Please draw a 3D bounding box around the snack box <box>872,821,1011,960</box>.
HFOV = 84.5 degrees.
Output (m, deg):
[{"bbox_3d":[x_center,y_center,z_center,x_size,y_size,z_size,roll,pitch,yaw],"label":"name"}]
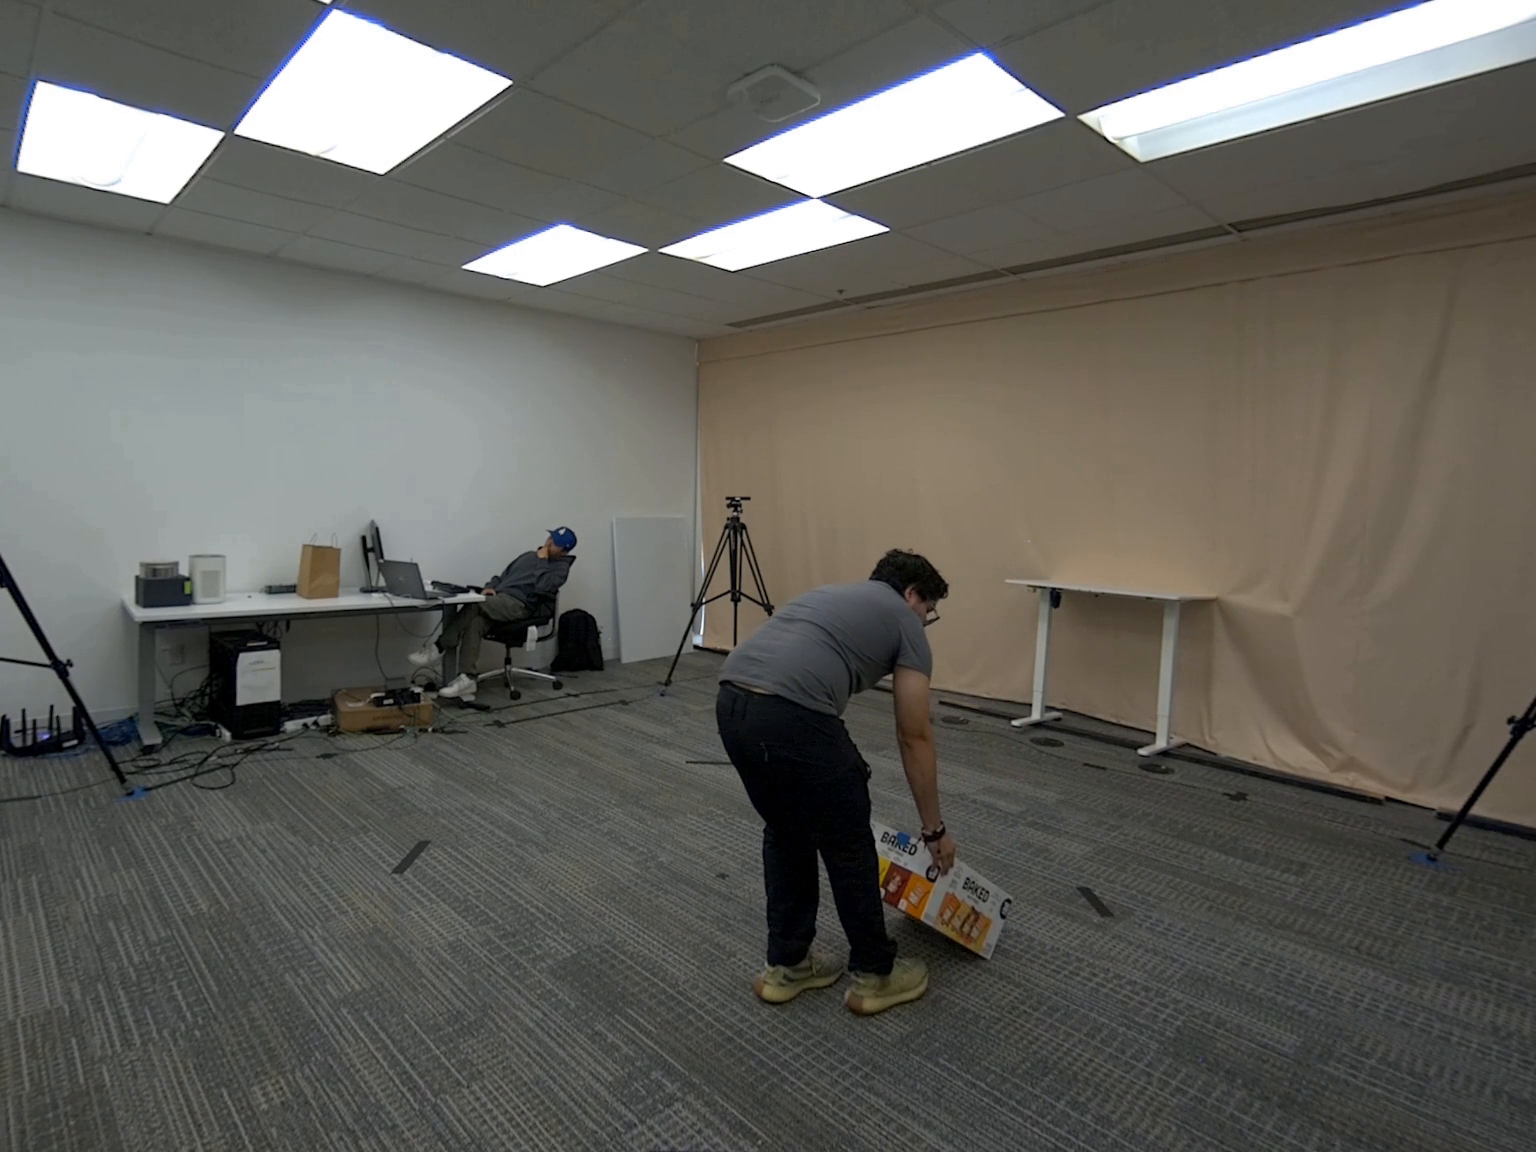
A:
[{"bbox_3d":[0.487,0.974,2.624,0.393,0.206,0.349,41,-20,-34],"label":"snack box"}]
